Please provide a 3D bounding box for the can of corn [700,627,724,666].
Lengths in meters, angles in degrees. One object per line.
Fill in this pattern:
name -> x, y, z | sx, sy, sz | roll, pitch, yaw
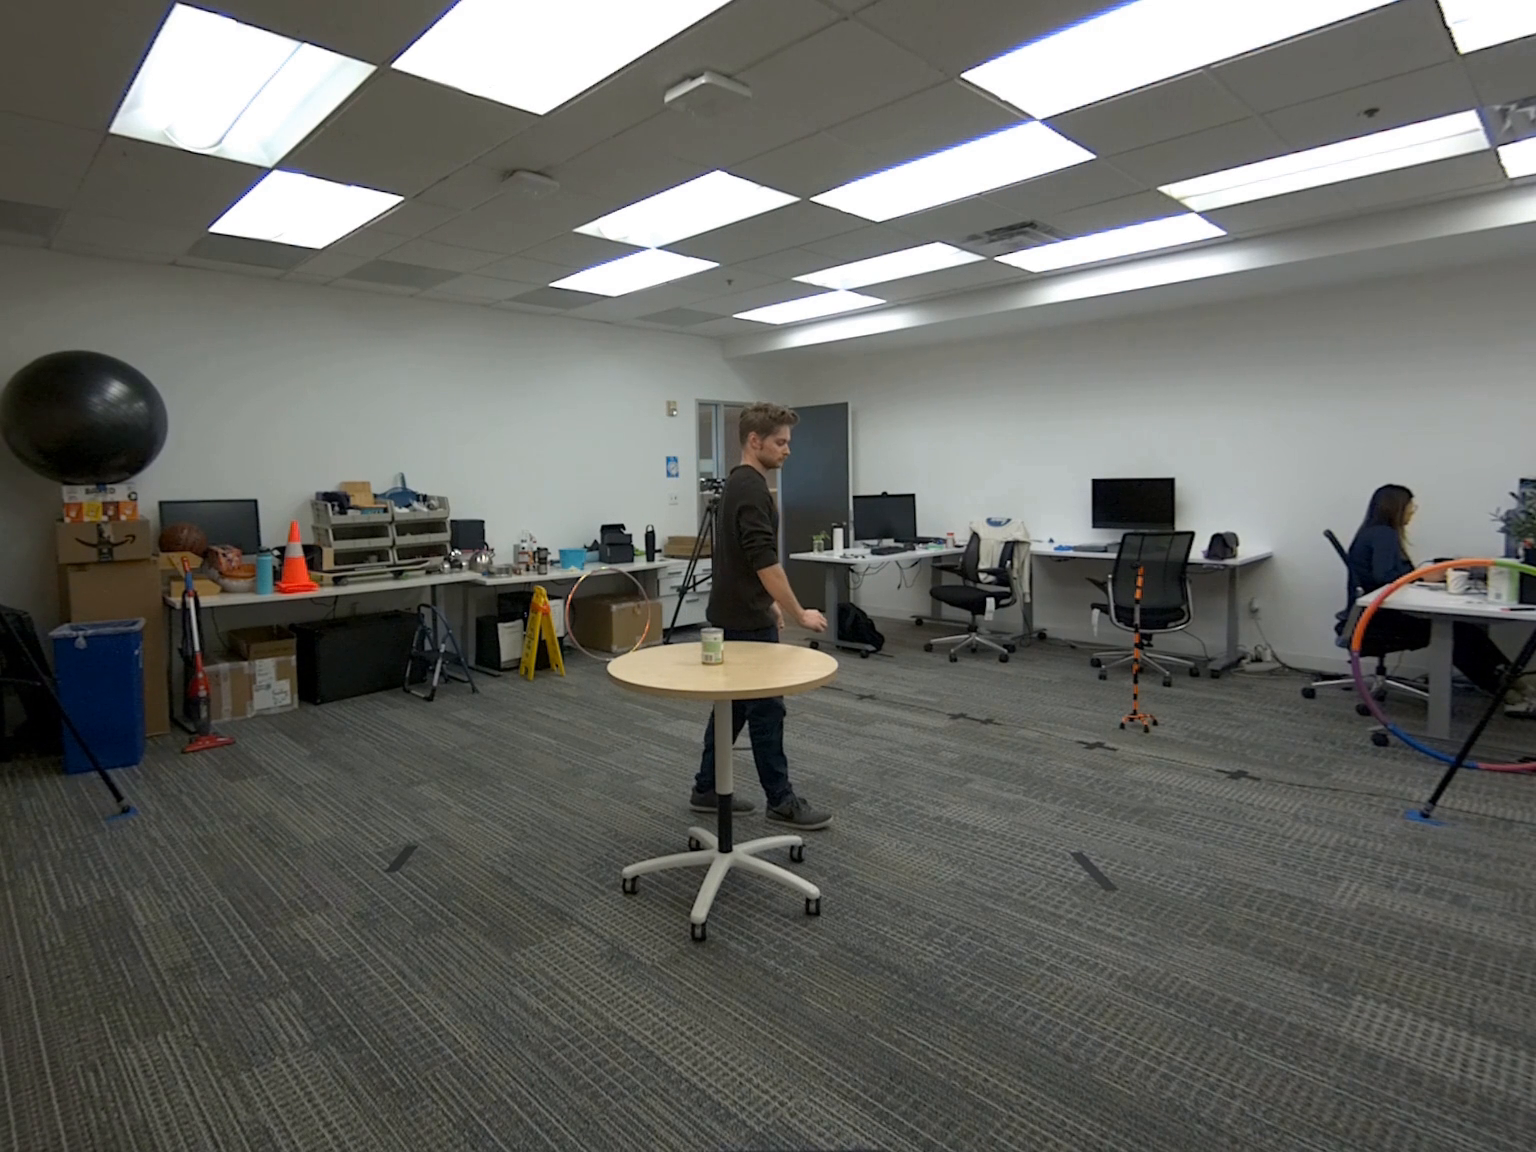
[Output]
can of corn -> -0.189, 0.240, 2.852 | 0.074, 0.111, 0.074 | -2, 4, -1
